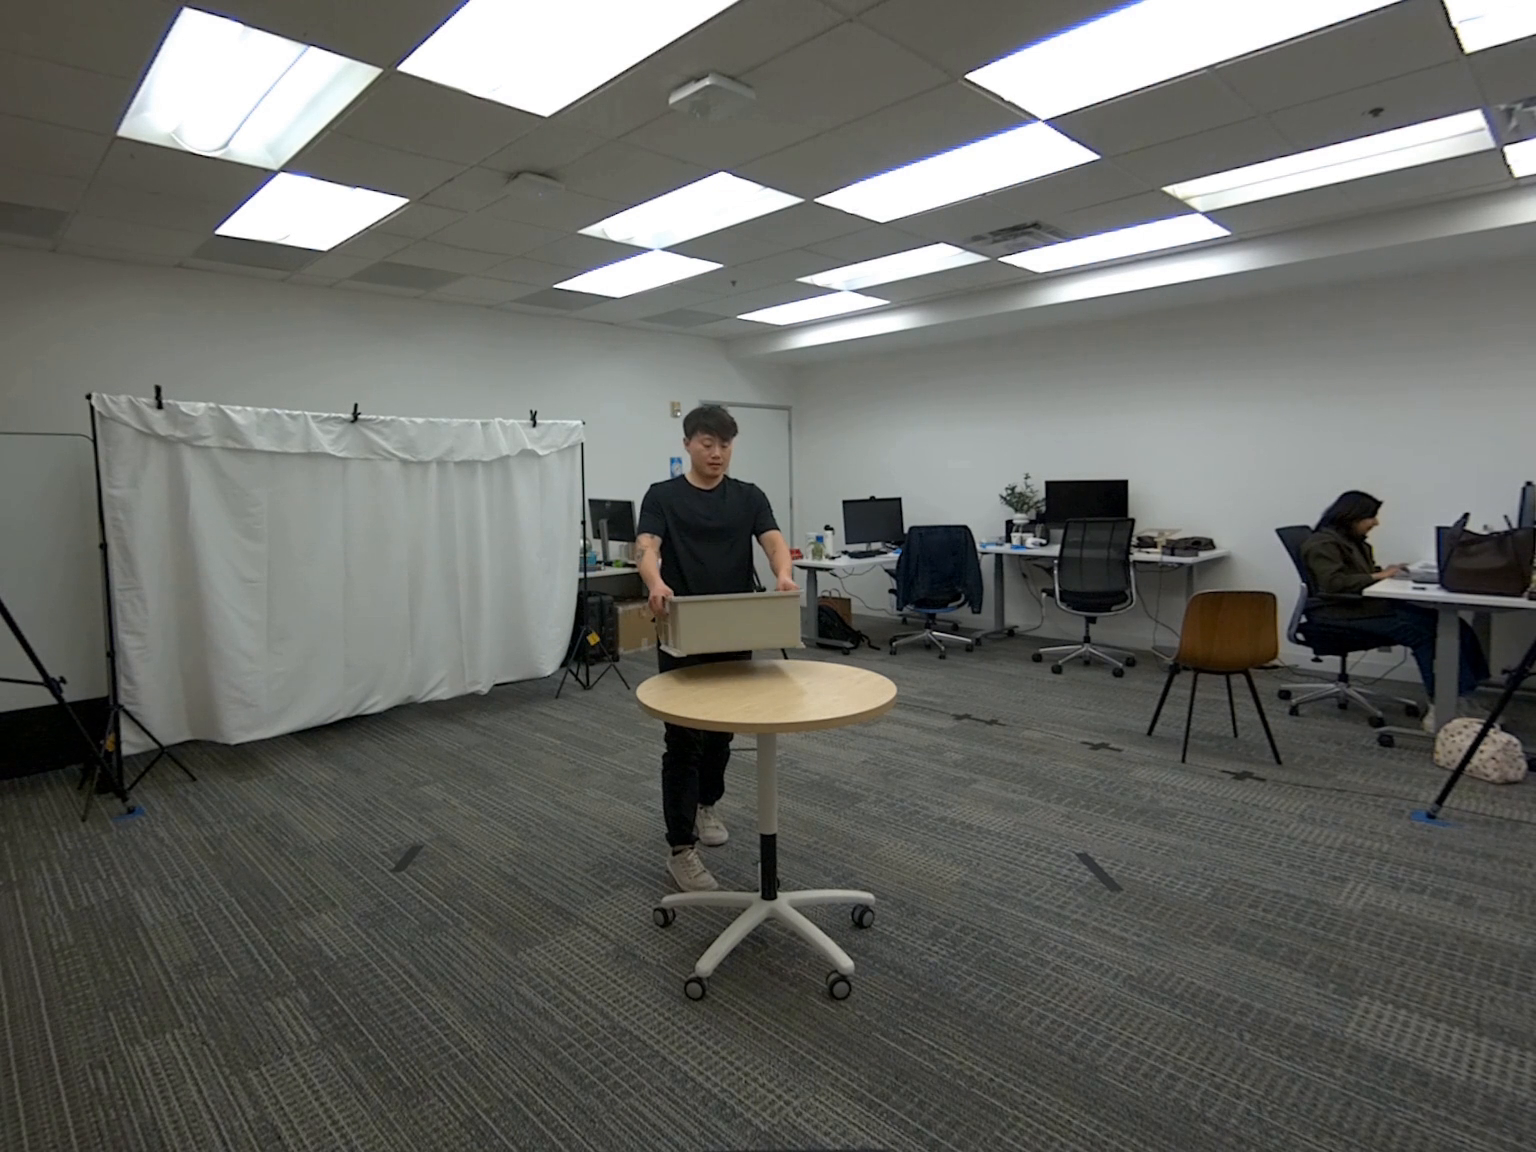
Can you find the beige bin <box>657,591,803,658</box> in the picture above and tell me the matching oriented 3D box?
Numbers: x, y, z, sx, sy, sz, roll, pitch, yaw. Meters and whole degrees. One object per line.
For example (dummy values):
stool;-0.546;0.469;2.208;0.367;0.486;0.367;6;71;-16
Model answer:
beige bin;-0.137;0.148;2.788;0.416;0.189;0.383;-3;2;-15
